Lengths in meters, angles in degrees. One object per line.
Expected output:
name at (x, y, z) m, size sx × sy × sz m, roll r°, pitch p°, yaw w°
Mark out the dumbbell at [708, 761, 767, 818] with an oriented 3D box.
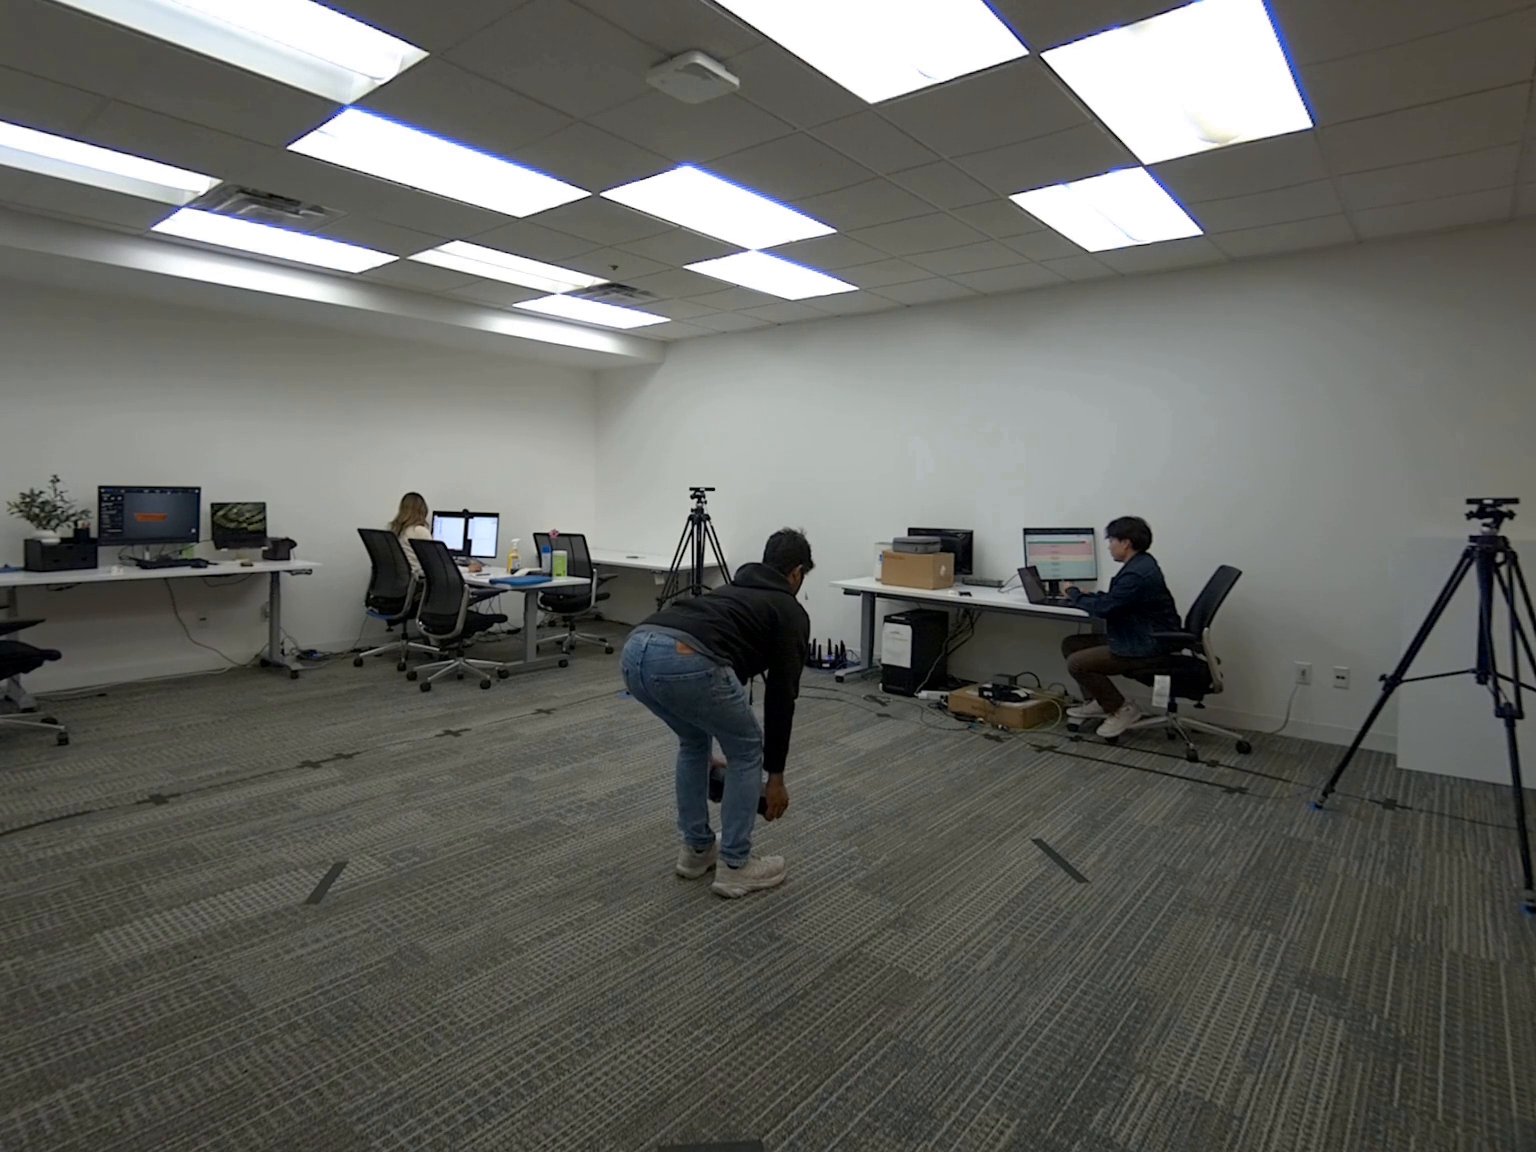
dumbbell at (-0.103, 0.785, 3.104) m, size 0.304 × 0.105 × 0.122 m, roll 9°, pitch 36°, yaw 39°
